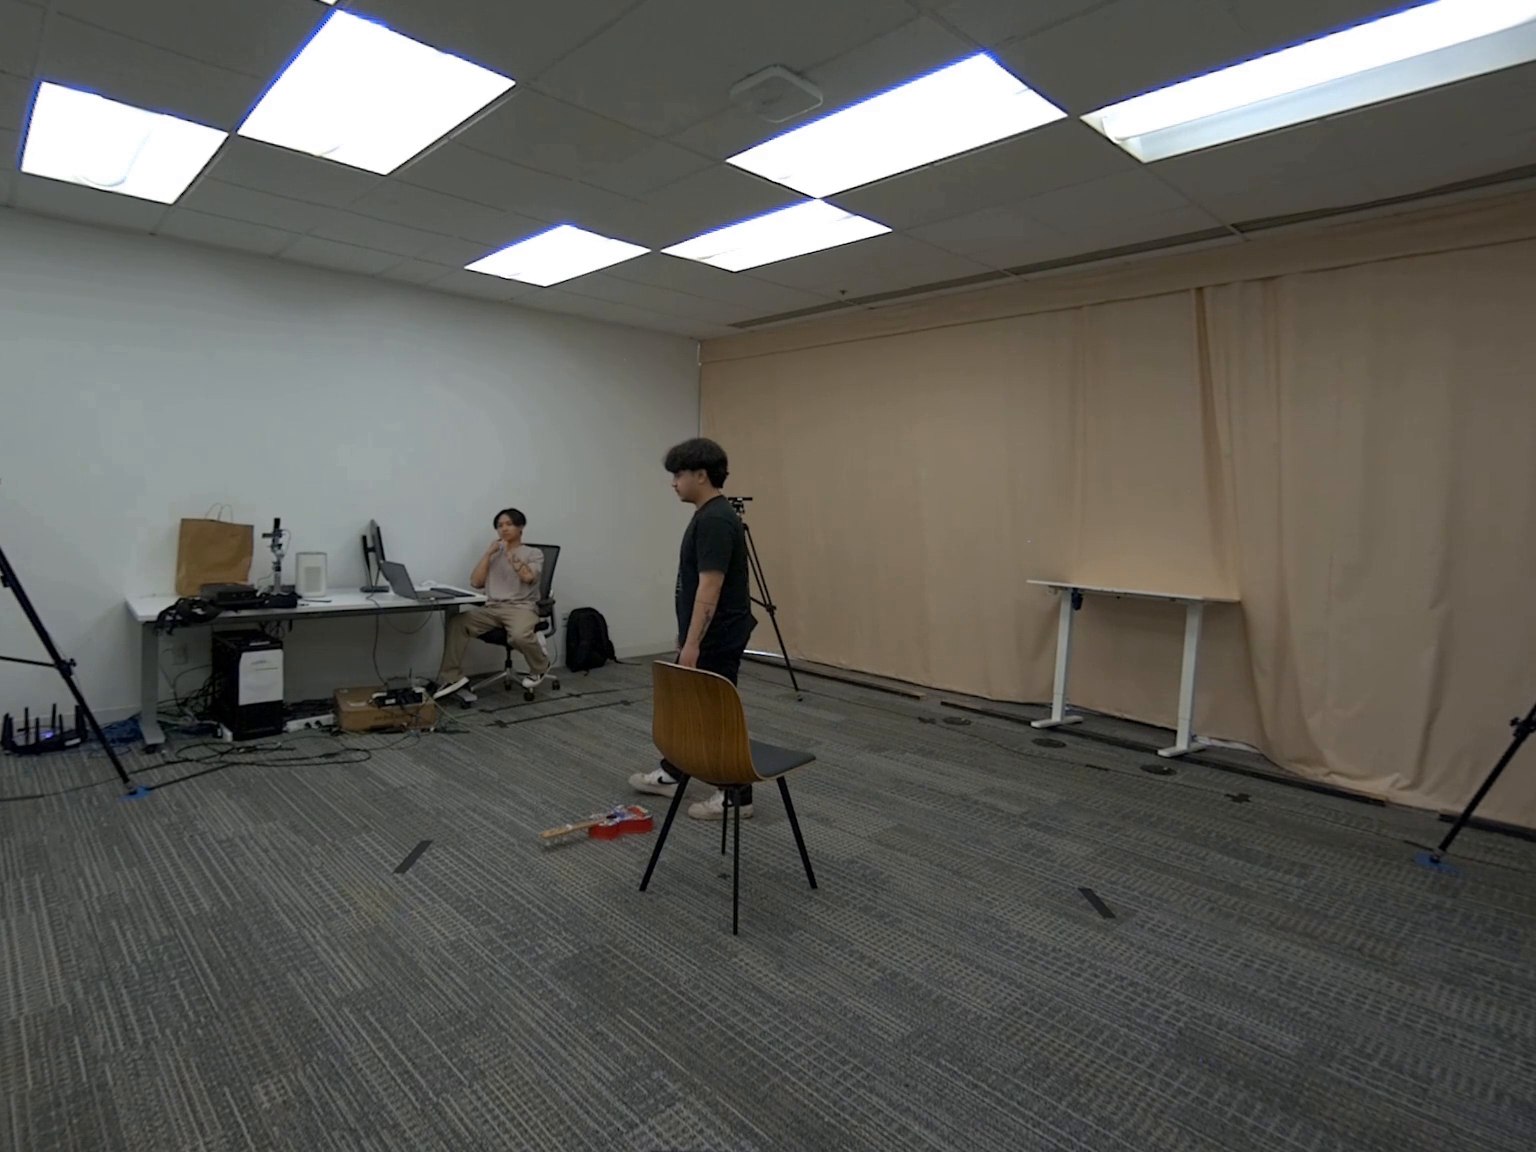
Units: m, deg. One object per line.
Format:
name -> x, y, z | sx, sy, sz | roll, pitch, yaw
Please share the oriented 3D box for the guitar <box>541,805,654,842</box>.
guitar -> -0.731, 1.030, 3.474 | 0.487, 0.070, 0.198 | -2, 6, -32
